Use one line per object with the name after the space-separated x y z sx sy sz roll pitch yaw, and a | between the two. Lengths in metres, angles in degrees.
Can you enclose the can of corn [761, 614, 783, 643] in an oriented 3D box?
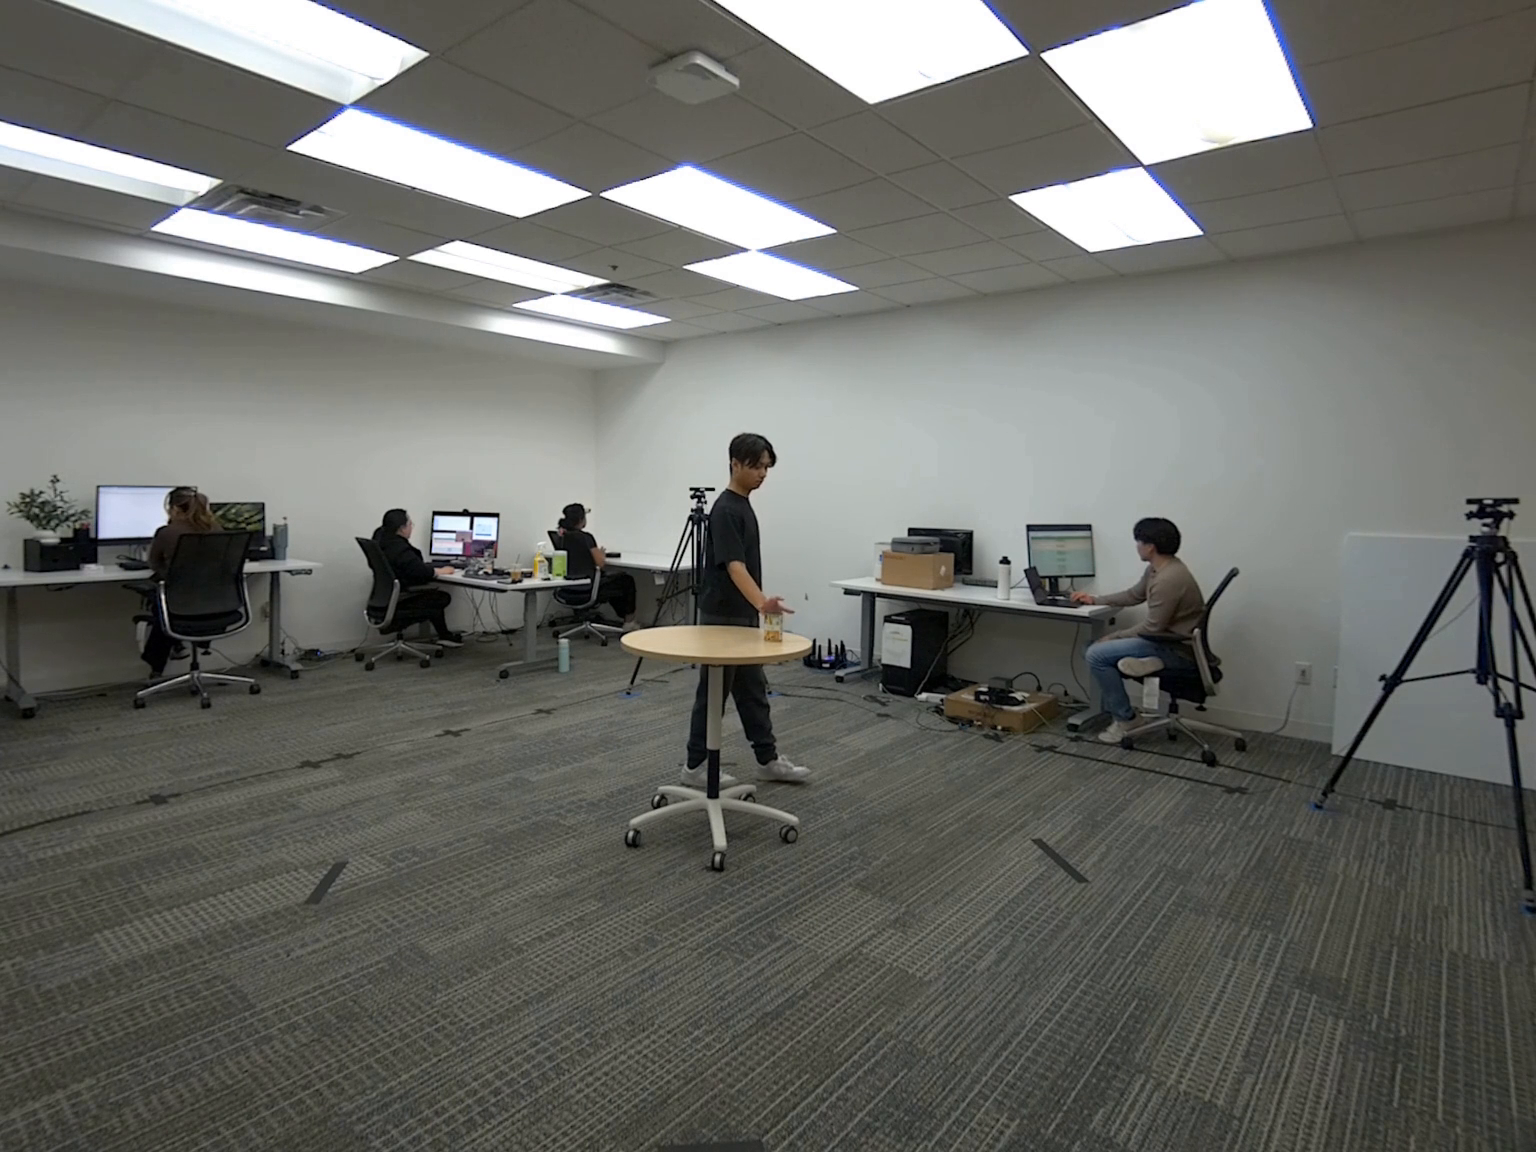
0.005 0.201 3.437 0.074 0.111 0.074 5 2 -2 | can of corn
